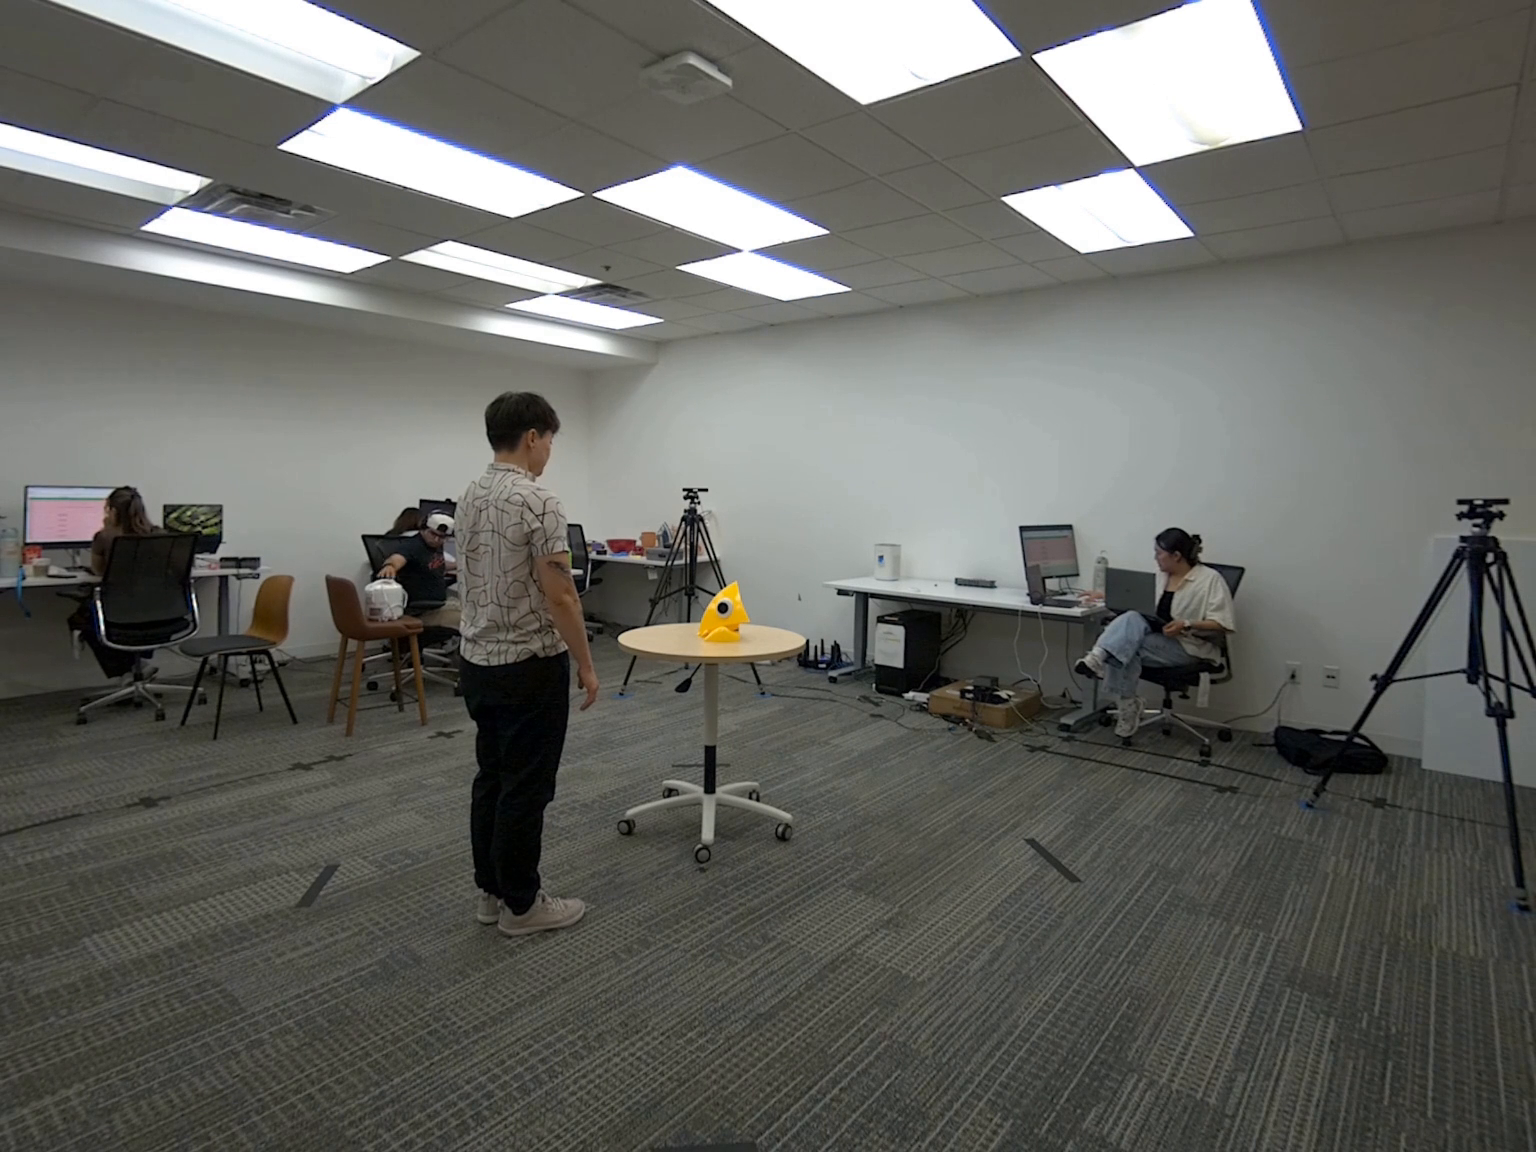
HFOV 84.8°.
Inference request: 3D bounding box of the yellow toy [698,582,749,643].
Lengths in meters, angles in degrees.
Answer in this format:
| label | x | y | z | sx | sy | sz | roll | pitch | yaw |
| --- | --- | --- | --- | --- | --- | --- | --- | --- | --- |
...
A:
| label | x | y | z | sx | sy | sz | roll | pitch | yaw |
| --- | --- | --- | --- | --- | --- | --- | --- | --- | --- |
| yellow toy | -0.198 | 0.134 | 3.485 | 0.190 | 0.230 | 0.209 | 0 | 5 | -16 |
